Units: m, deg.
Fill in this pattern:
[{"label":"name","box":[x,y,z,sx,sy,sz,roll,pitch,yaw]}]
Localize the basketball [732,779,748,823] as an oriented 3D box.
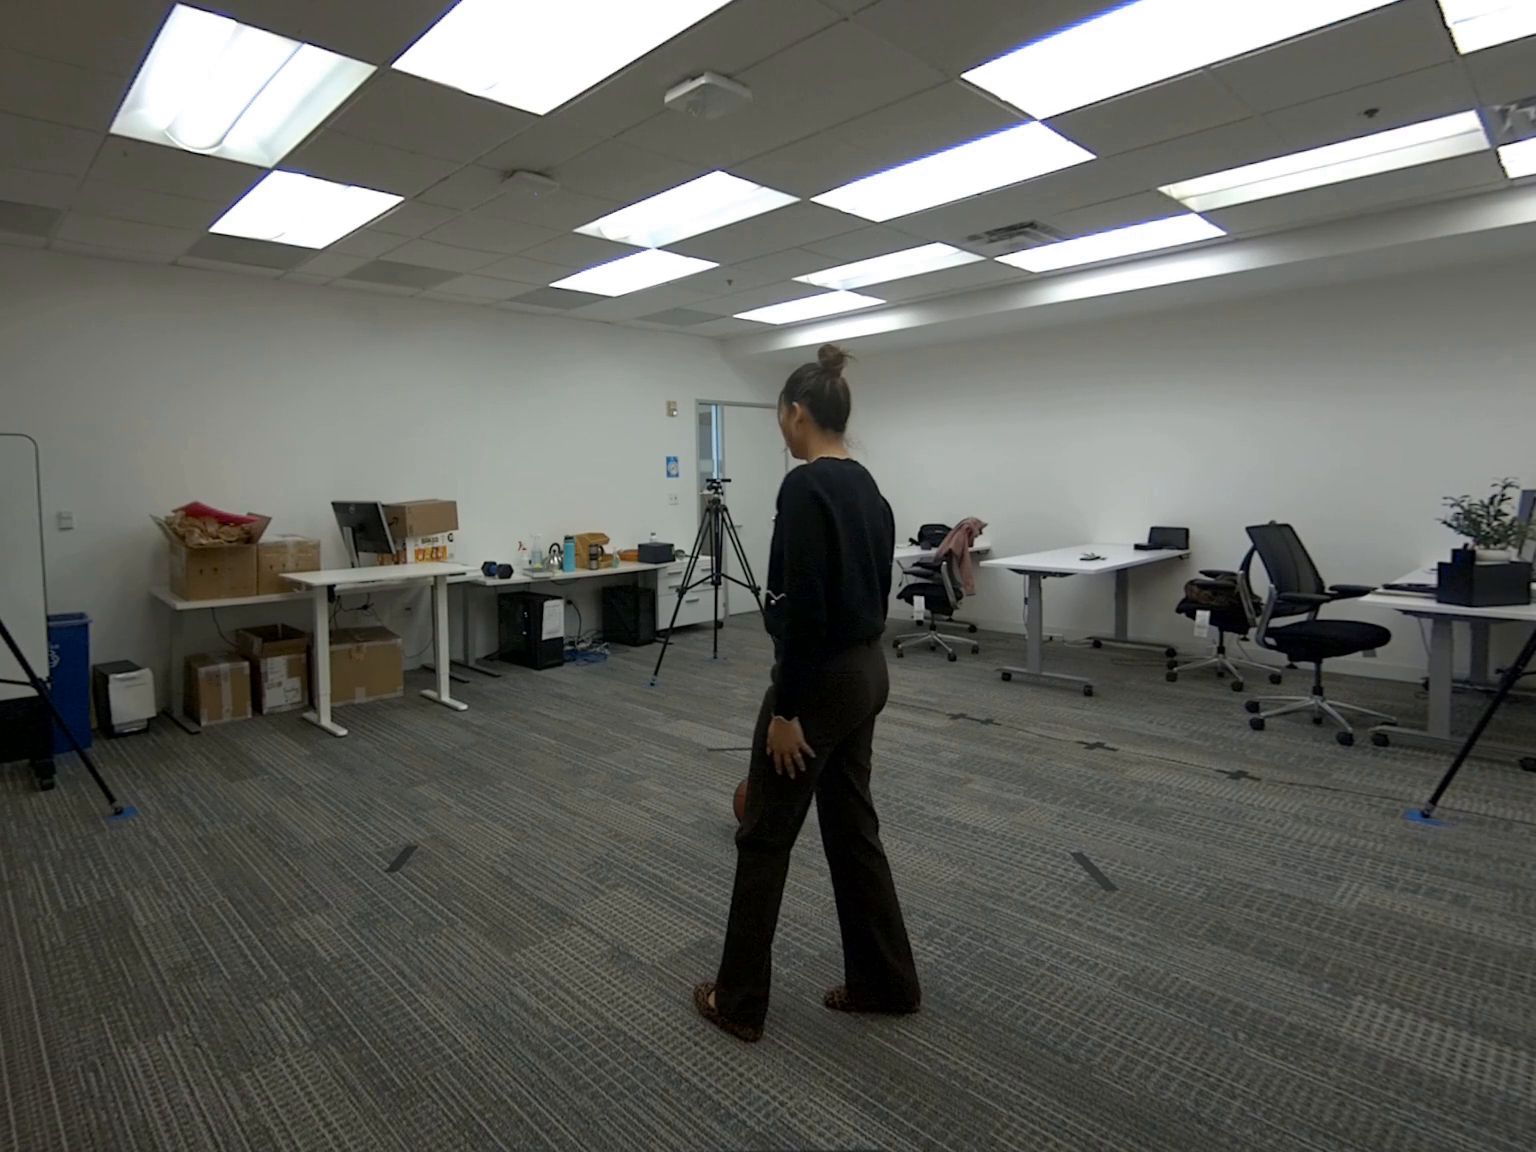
[{"label":"basketball","box":[-0.017,0.898,3.371,0.236,0.235,0.237,-1,5,-2]}]
